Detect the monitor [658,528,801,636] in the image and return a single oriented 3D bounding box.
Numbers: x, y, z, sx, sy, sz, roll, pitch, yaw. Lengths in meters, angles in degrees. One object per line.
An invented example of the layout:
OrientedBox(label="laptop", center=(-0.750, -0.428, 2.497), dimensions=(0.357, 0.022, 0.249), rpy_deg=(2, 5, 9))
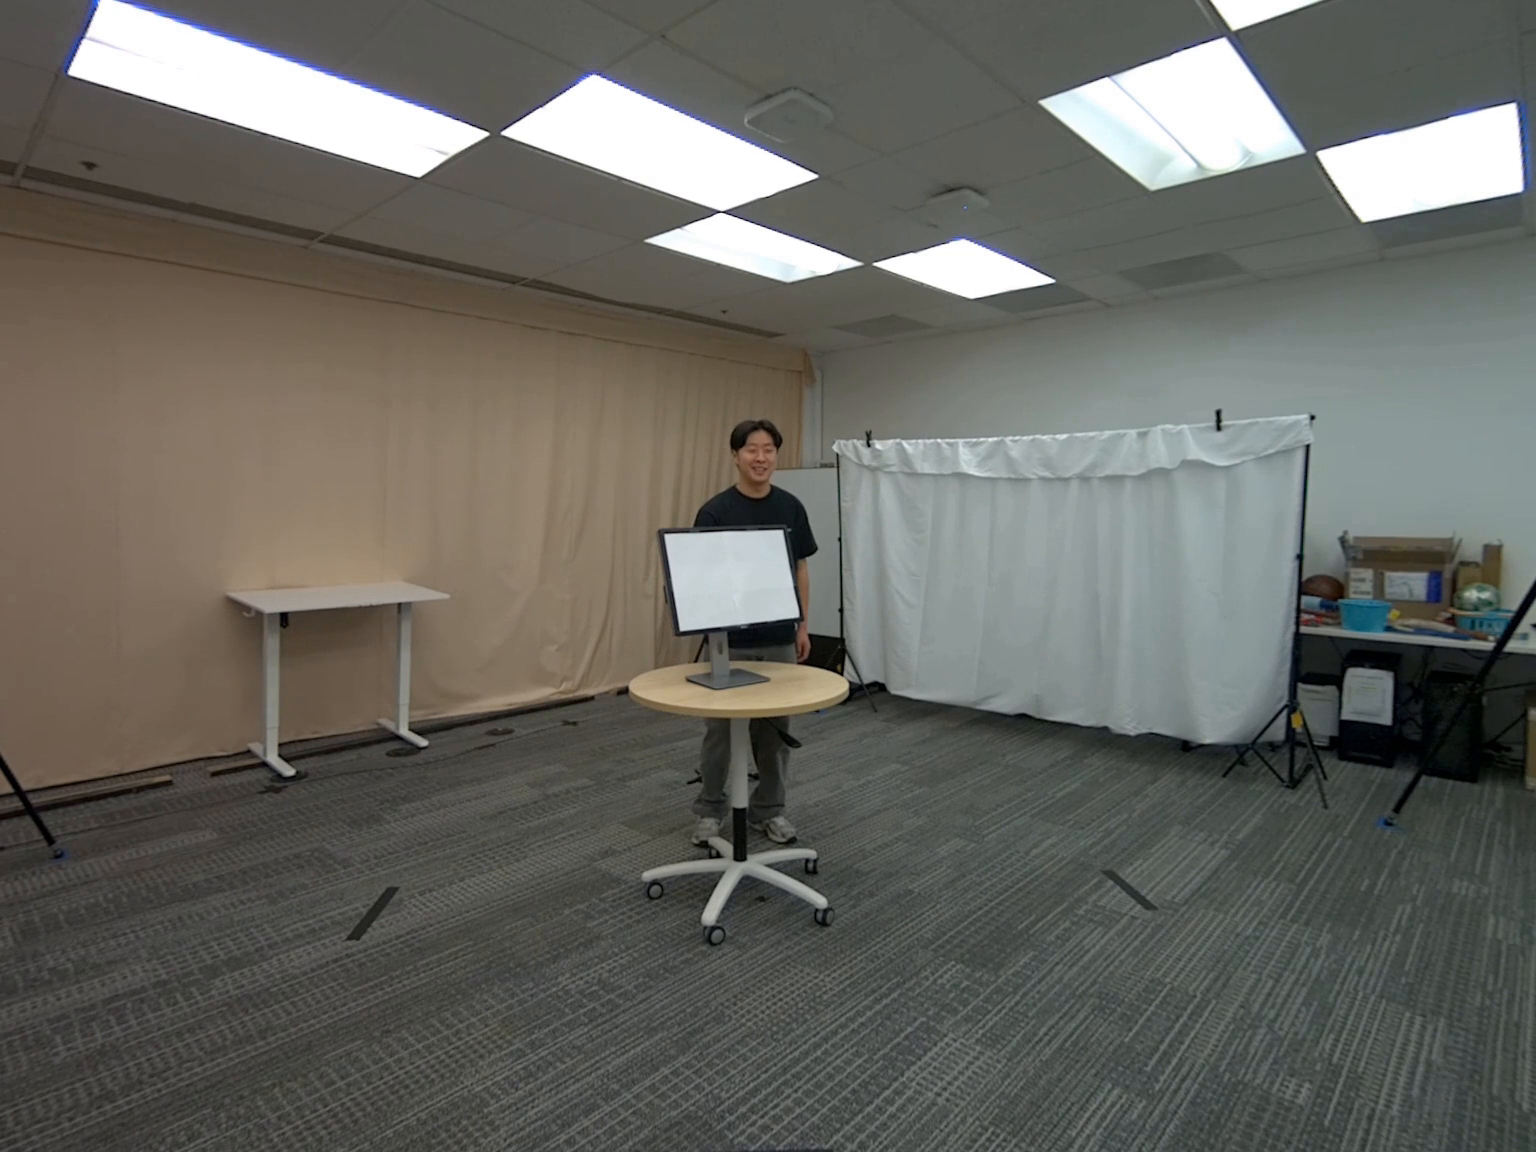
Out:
OrientedBox(label="monitor", center=(-0.137, 0.109, 2.959), dimensions=(0.546, 0.564, 0.229), rpy_deg=(-4, 6, -35))
